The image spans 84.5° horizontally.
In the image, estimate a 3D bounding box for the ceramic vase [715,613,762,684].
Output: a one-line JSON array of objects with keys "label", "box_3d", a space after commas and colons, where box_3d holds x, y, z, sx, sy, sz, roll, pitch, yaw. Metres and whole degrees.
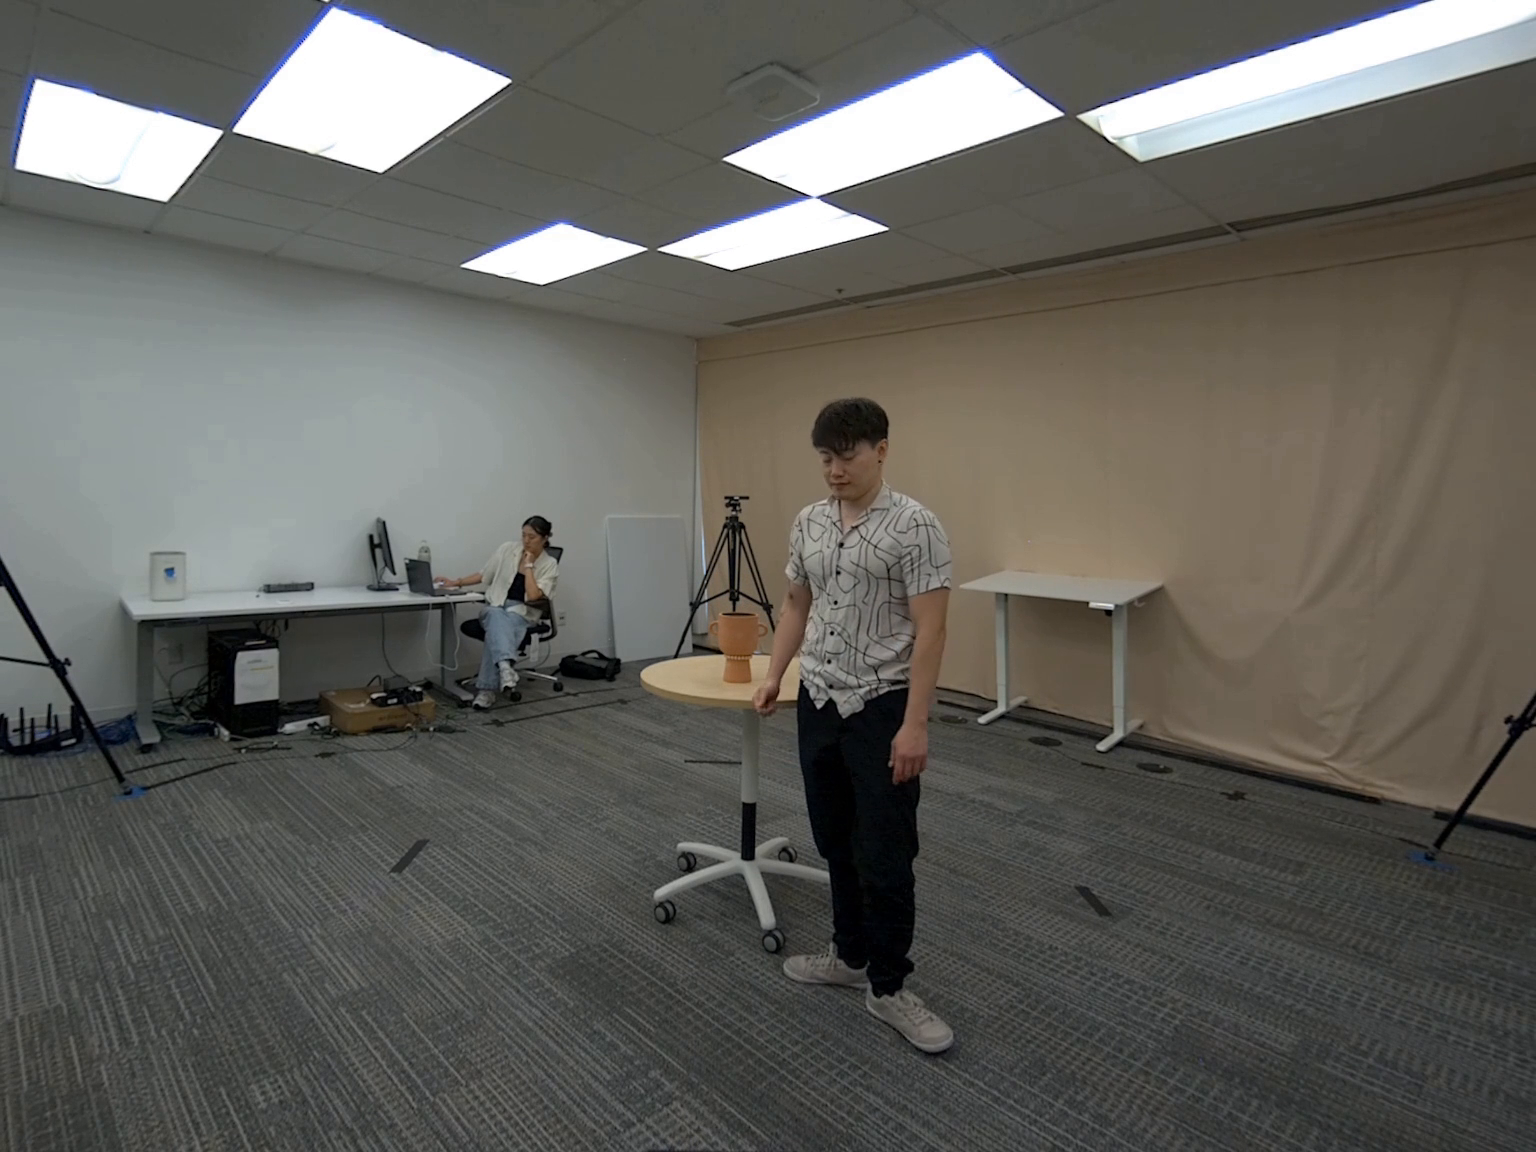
[{"label": "ceramic vase", "box_3d": [-0.106, 0.238, 2.787, 0.131, 0.219, 0.163, -3, 6, -44]}]
